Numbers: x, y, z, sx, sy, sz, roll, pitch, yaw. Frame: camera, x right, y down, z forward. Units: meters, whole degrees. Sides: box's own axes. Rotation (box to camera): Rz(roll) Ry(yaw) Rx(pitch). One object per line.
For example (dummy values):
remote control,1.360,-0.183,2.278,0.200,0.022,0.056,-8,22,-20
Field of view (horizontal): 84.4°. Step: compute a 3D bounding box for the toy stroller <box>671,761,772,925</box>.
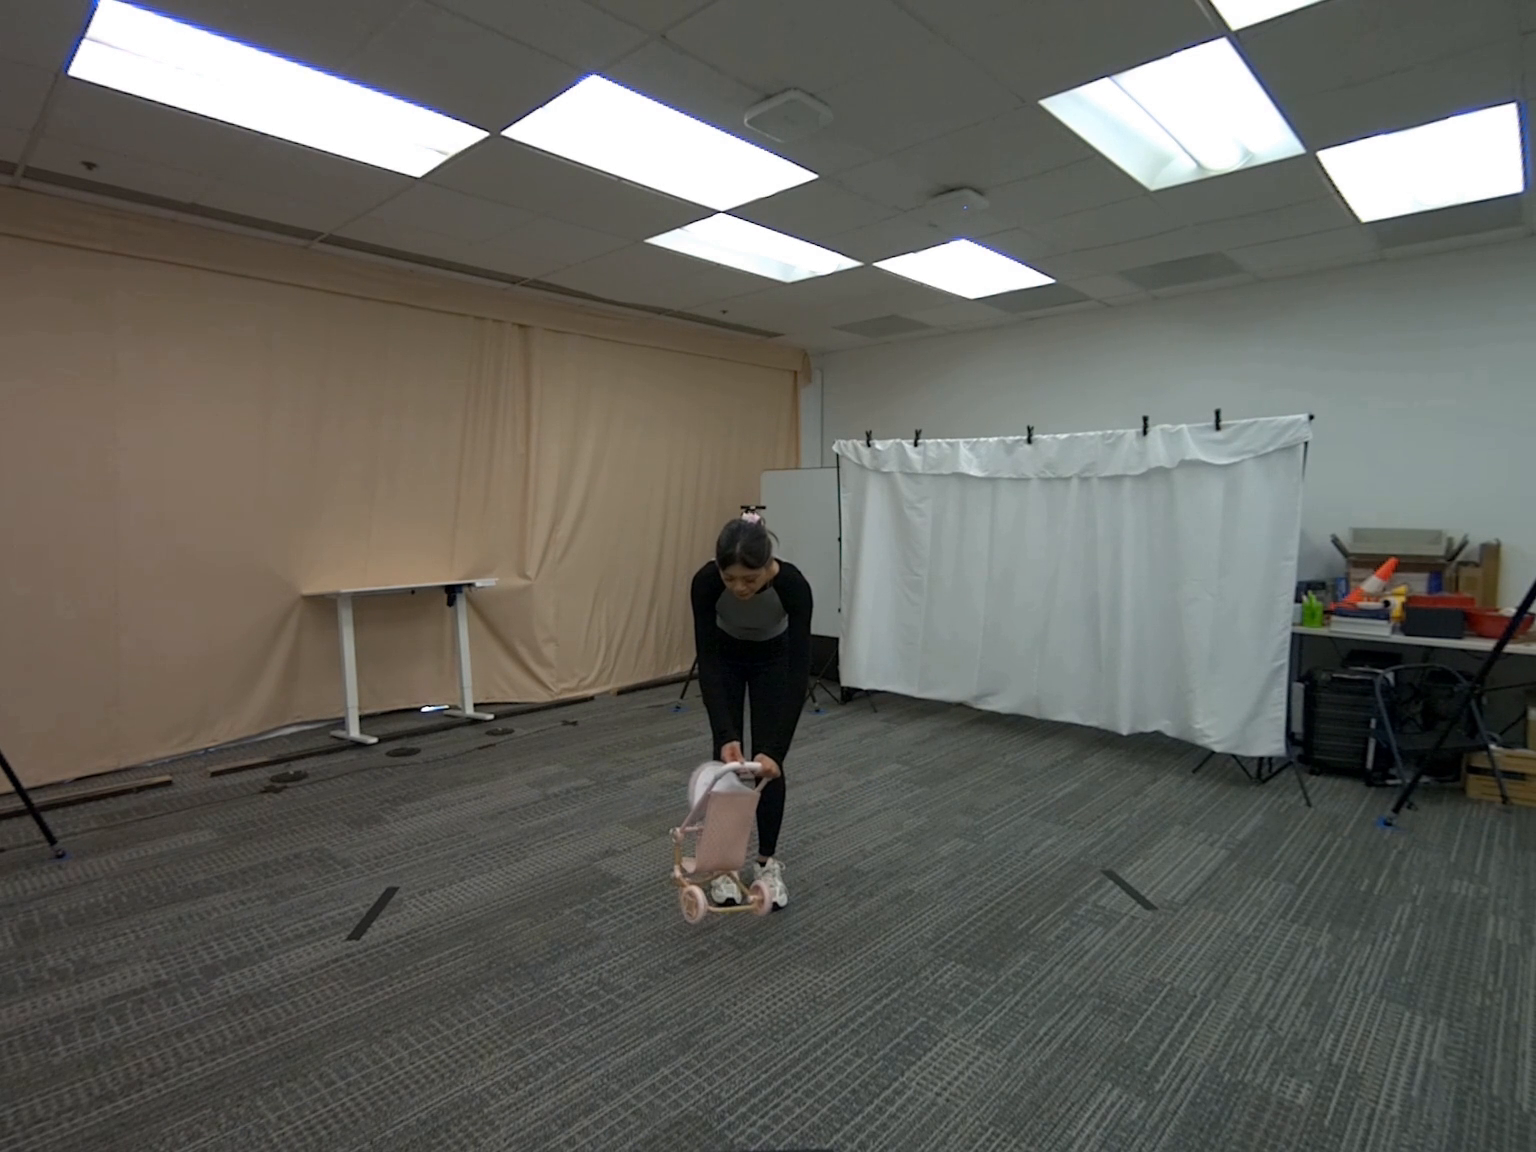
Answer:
toy stroller,-0.160,0.837,2.675,0.273,0.536,0.350,8,-5,-30
